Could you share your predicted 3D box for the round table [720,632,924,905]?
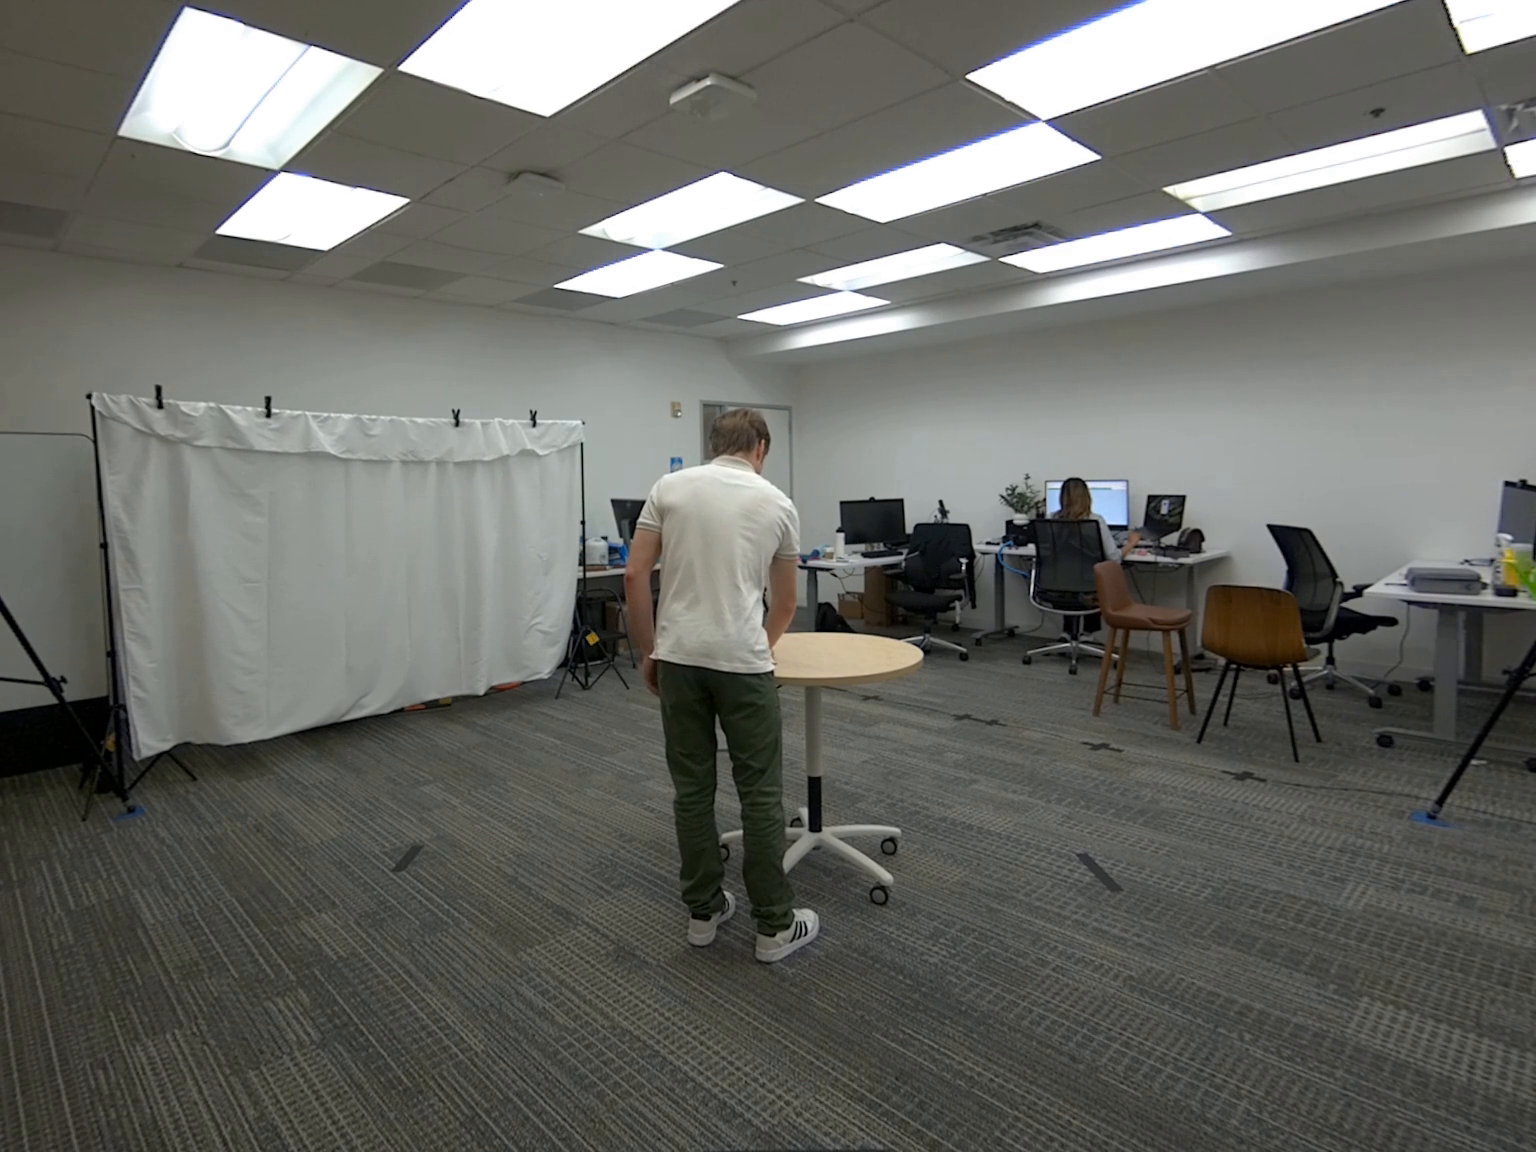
[{"bbox_3d":[0.182,0.657,3.045,0.784,0.783,0.789,-2,5,-2],"label":"round table"}]
